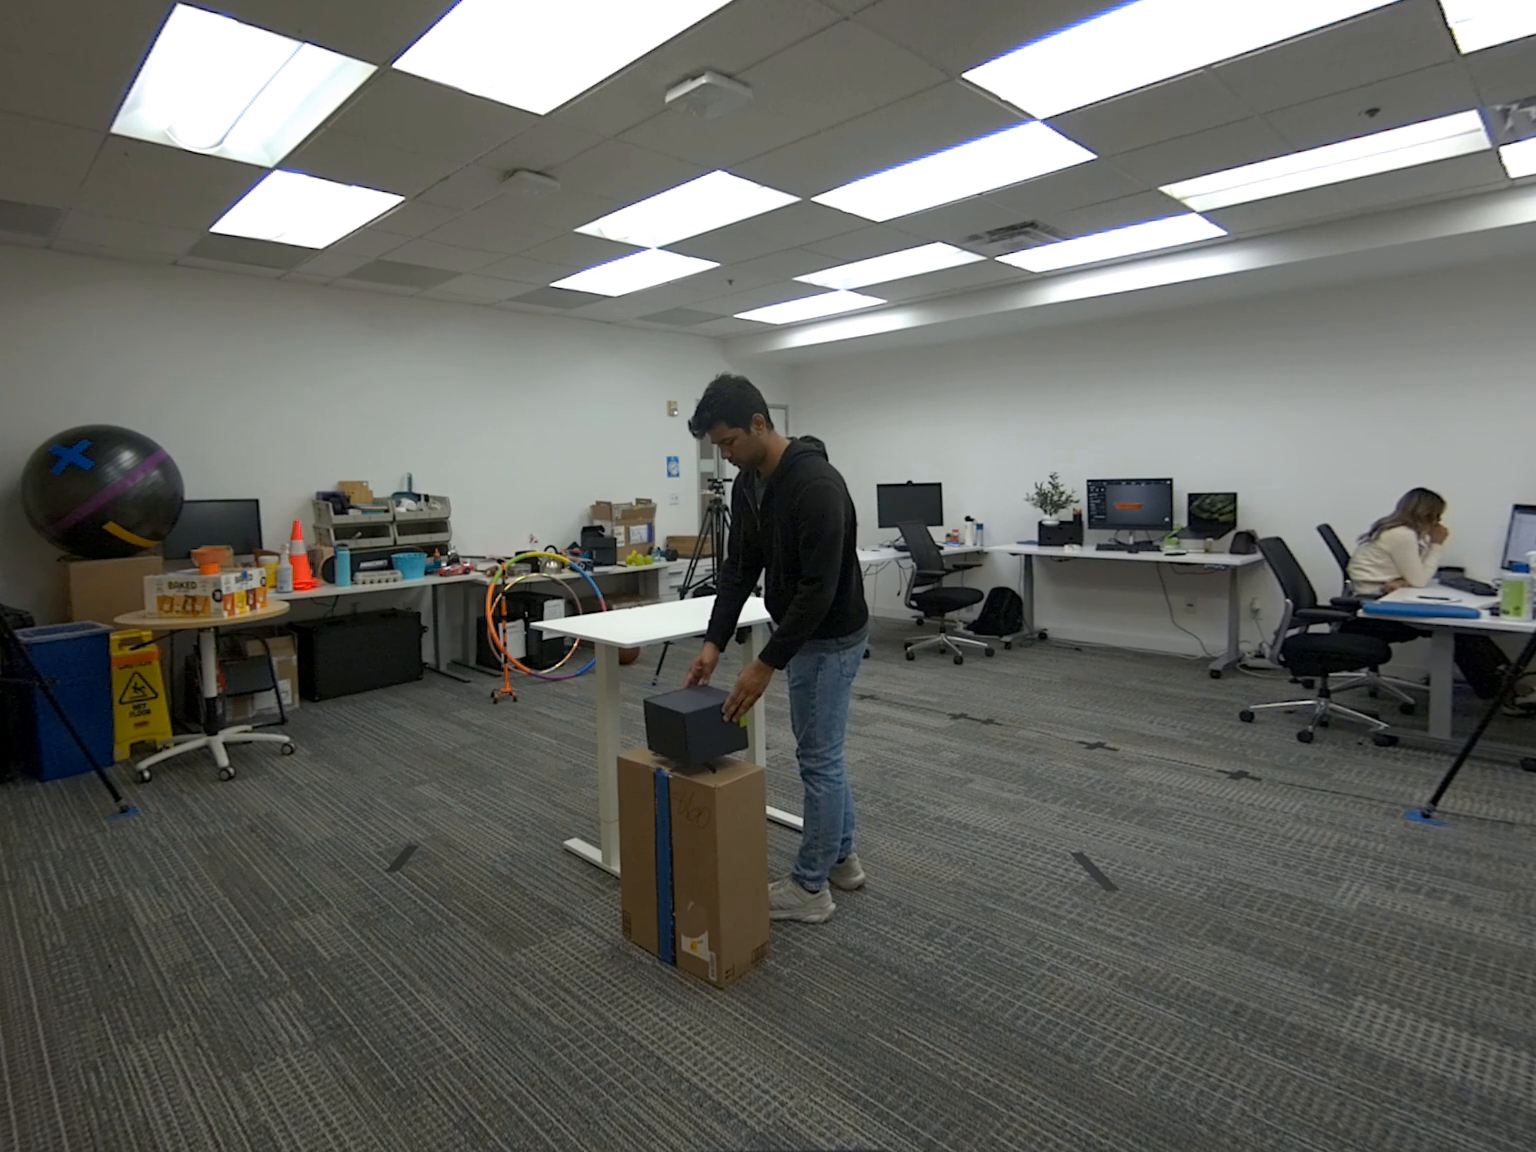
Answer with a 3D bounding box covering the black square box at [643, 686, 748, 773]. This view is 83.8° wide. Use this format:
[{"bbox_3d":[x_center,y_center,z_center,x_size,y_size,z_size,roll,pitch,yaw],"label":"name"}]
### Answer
[{"bbox_3d":[-0.209,0.428,2.515,0.212,0.155,0.234,-9,7,-37],"label":"black square box"}]
